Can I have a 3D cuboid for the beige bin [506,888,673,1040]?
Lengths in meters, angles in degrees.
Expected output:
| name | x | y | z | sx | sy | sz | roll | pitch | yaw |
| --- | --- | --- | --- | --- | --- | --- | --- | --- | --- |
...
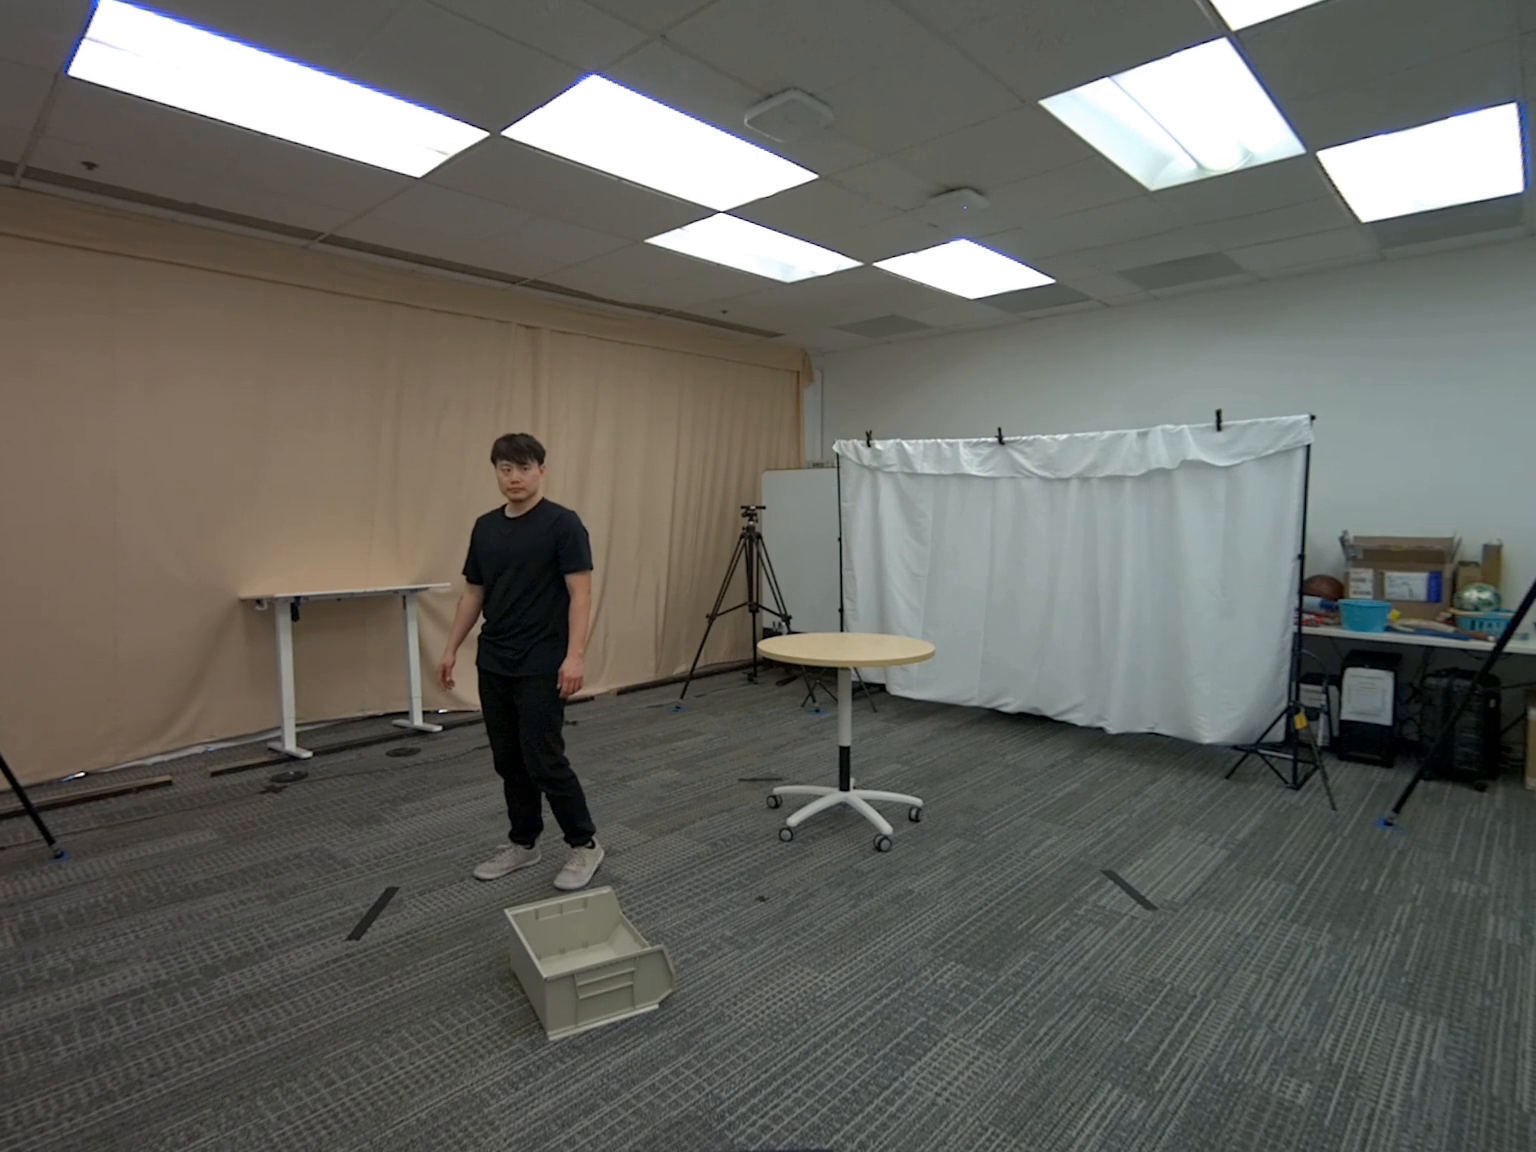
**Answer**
| name | x | y | z | sx | sy | sz | roll | pitch | yaw |
| --- | --- | --- | --- | --- | --- | --- | --- | --- | --- |
| beige bin | -0.526 | 1.105 | 2.441 | 0.367 | 0.188 | 0.435 | -4 | 6 | -30 |
